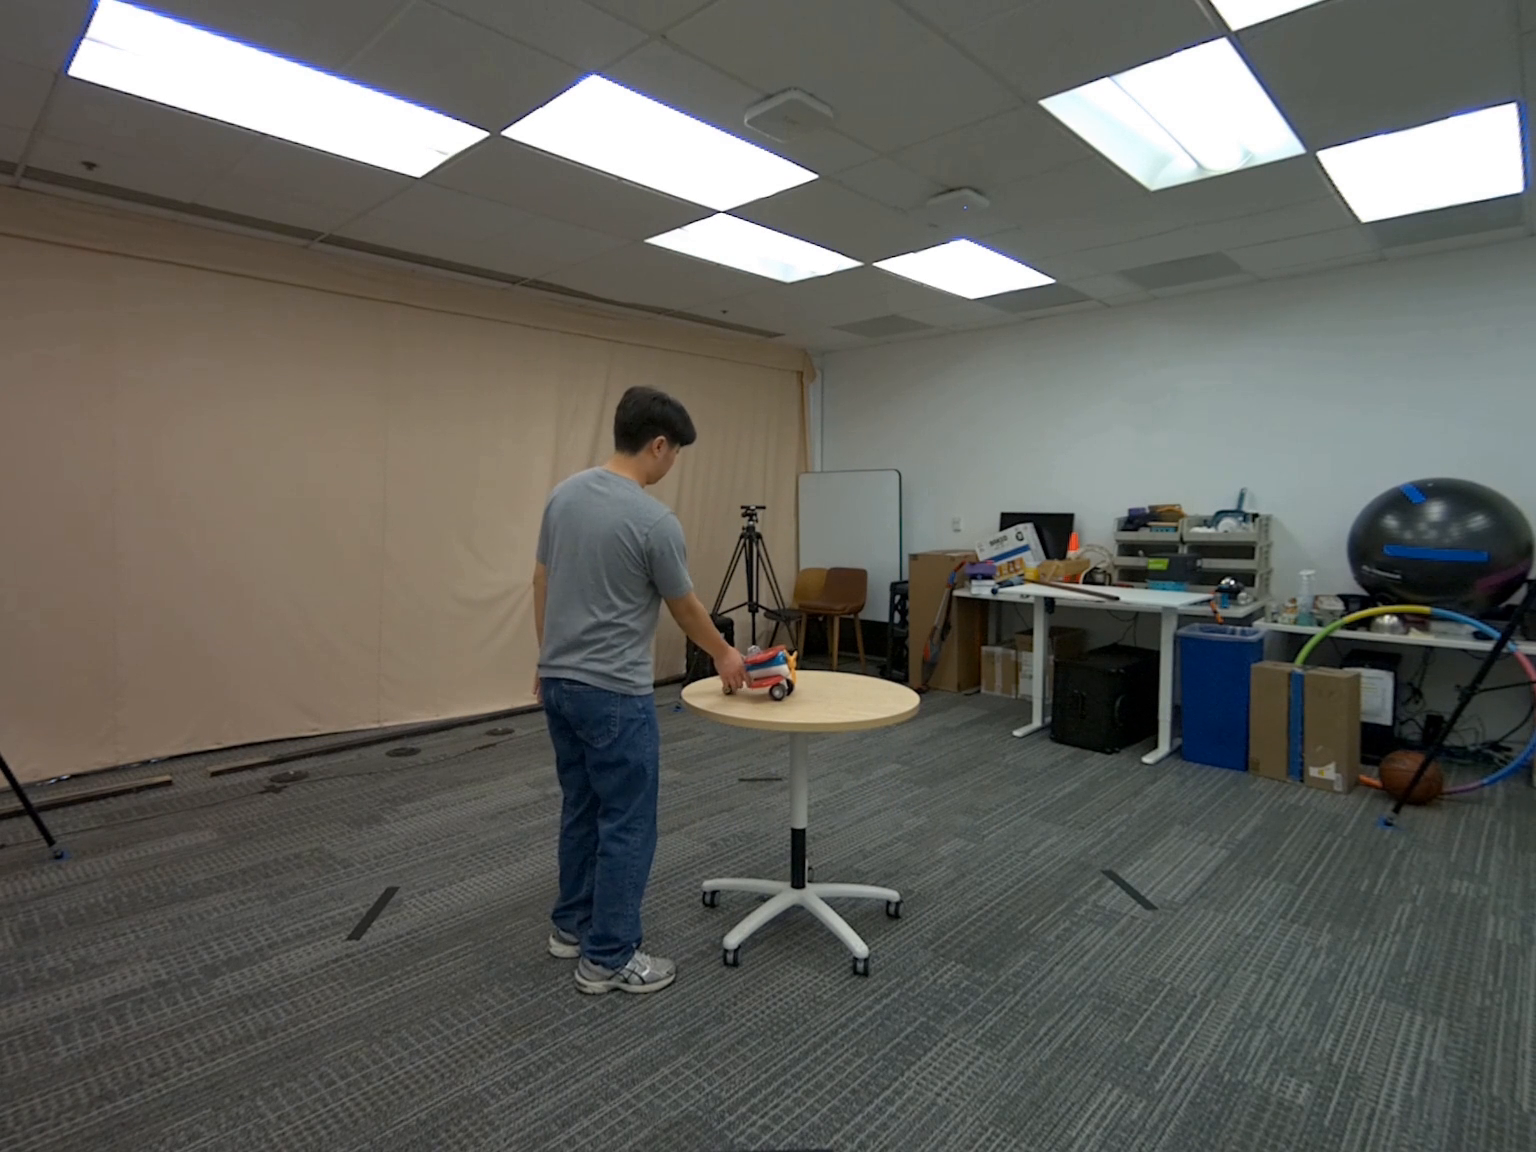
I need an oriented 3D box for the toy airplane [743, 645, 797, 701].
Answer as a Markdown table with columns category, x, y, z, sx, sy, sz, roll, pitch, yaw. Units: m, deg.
| category | x | y | z | sx | sy | sz | roll | pitch | yaw |
| --- | --- | --- | --- | --- | --- | --- | --- | --- | --- |
| toy airplane | -0.030 | 0.301 | 2.675 | 0.256 | 0.156 | 0.254 | 1 | 4 | -10 |
